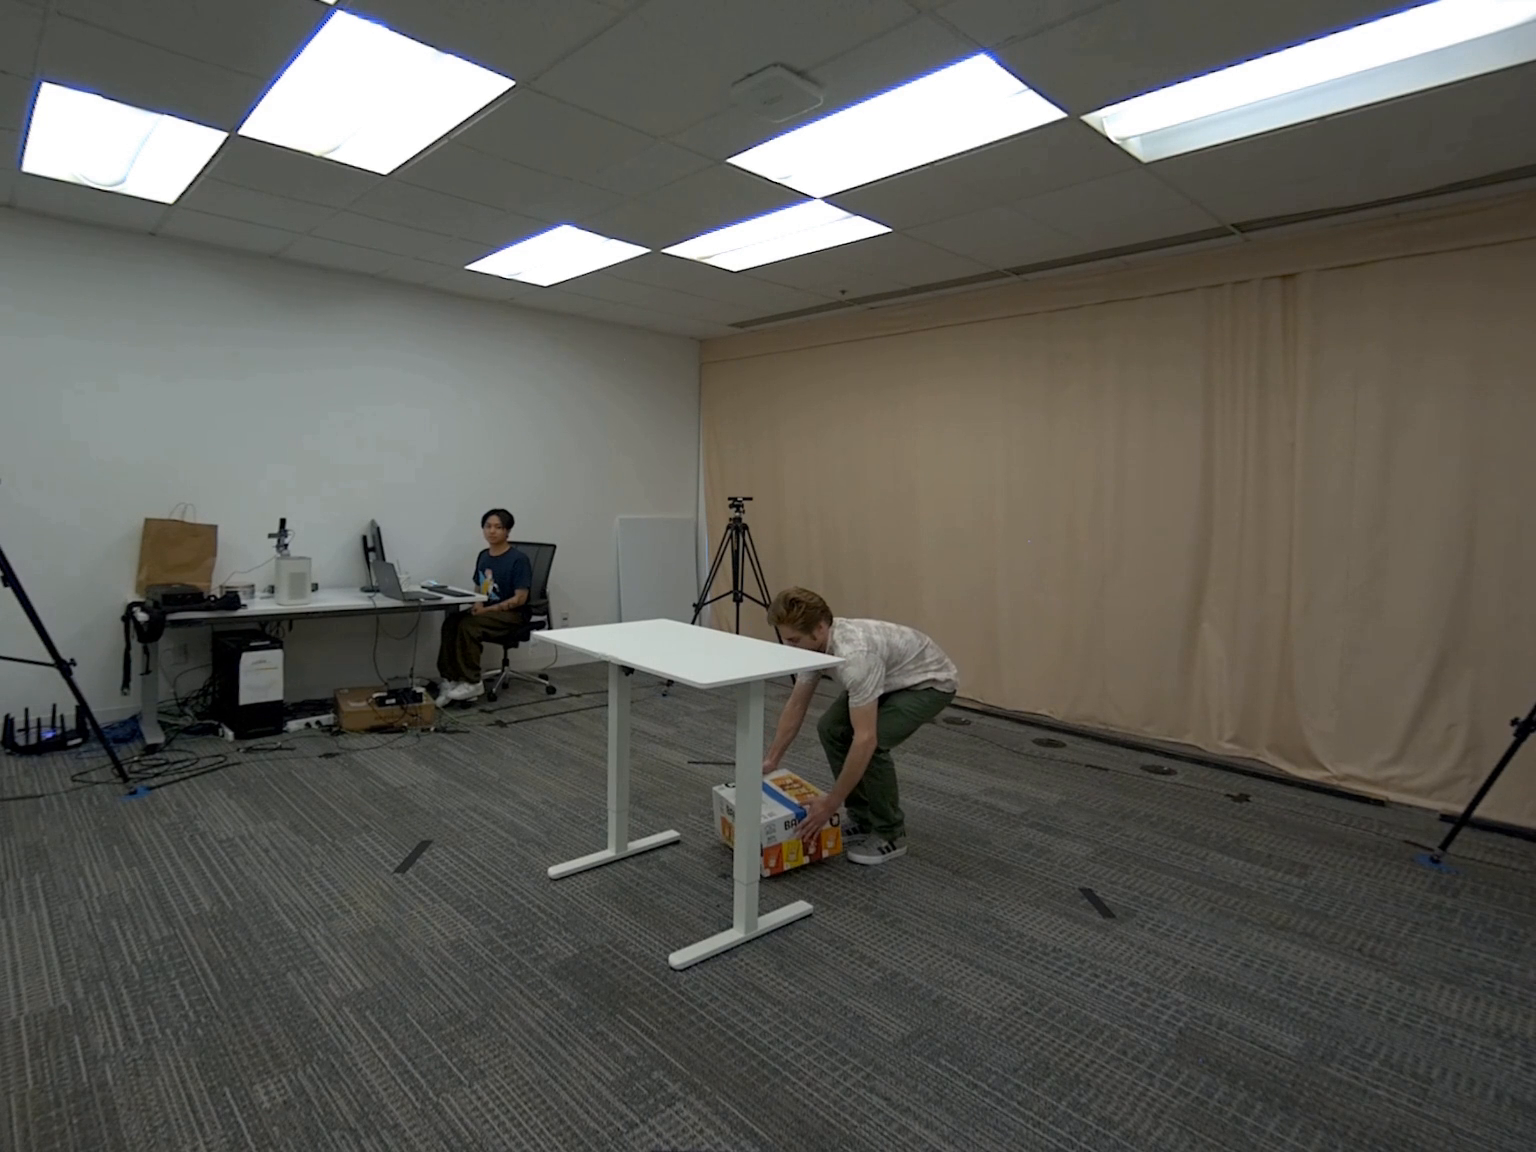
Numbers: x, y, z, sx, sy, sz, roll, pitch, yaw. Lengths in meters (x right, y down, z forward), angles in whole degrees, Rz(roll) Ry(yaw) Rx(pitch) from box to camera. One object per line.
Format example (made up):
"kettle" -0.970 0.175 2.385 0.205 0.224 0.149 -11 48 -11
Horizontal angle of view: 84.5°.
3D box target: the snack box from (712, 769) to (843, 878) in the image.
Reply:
"snack box" 0.022 0.944 3.276 0.335 0.204 0.414 -8 9 -27
